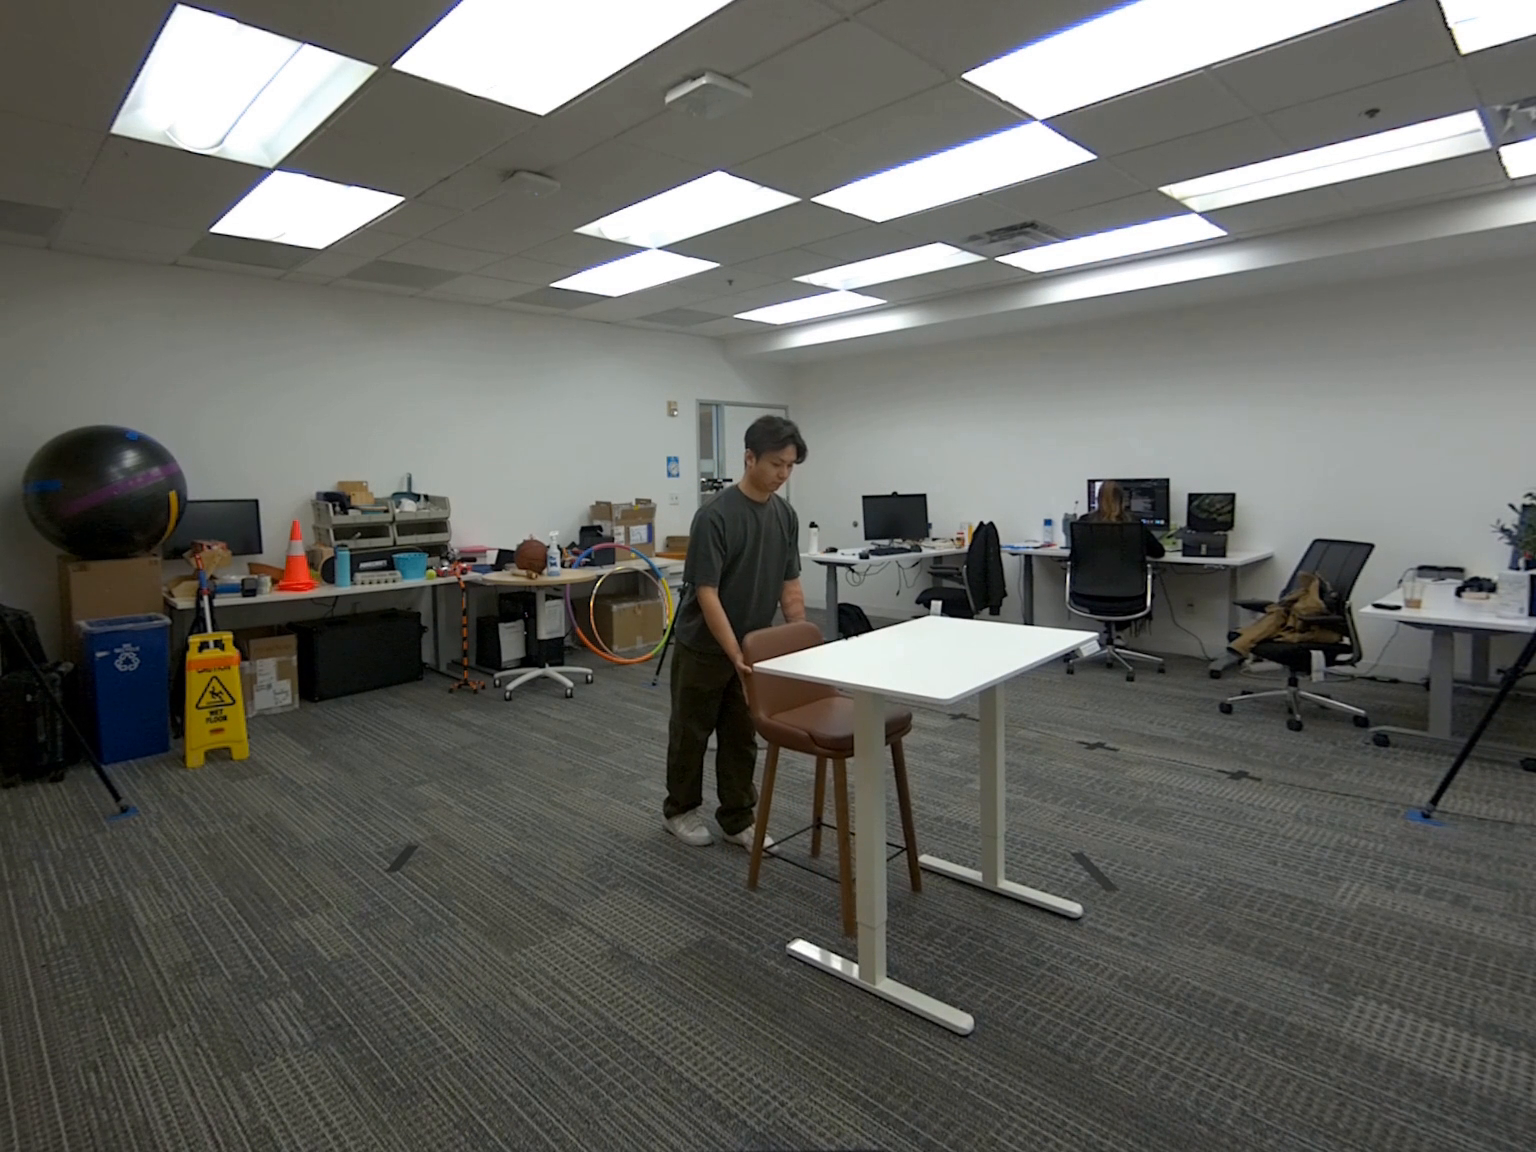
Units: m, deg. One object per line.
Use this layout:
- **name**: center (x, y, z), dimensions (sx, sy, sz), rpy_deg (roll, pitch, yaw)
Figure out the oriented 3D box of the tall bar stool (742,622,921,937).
- **tall bar stool**: center (0.206, 0.626, 2.870), dimensions (0.481, 0.888, 0.444), rpy_deg (-1, 3, 44)
